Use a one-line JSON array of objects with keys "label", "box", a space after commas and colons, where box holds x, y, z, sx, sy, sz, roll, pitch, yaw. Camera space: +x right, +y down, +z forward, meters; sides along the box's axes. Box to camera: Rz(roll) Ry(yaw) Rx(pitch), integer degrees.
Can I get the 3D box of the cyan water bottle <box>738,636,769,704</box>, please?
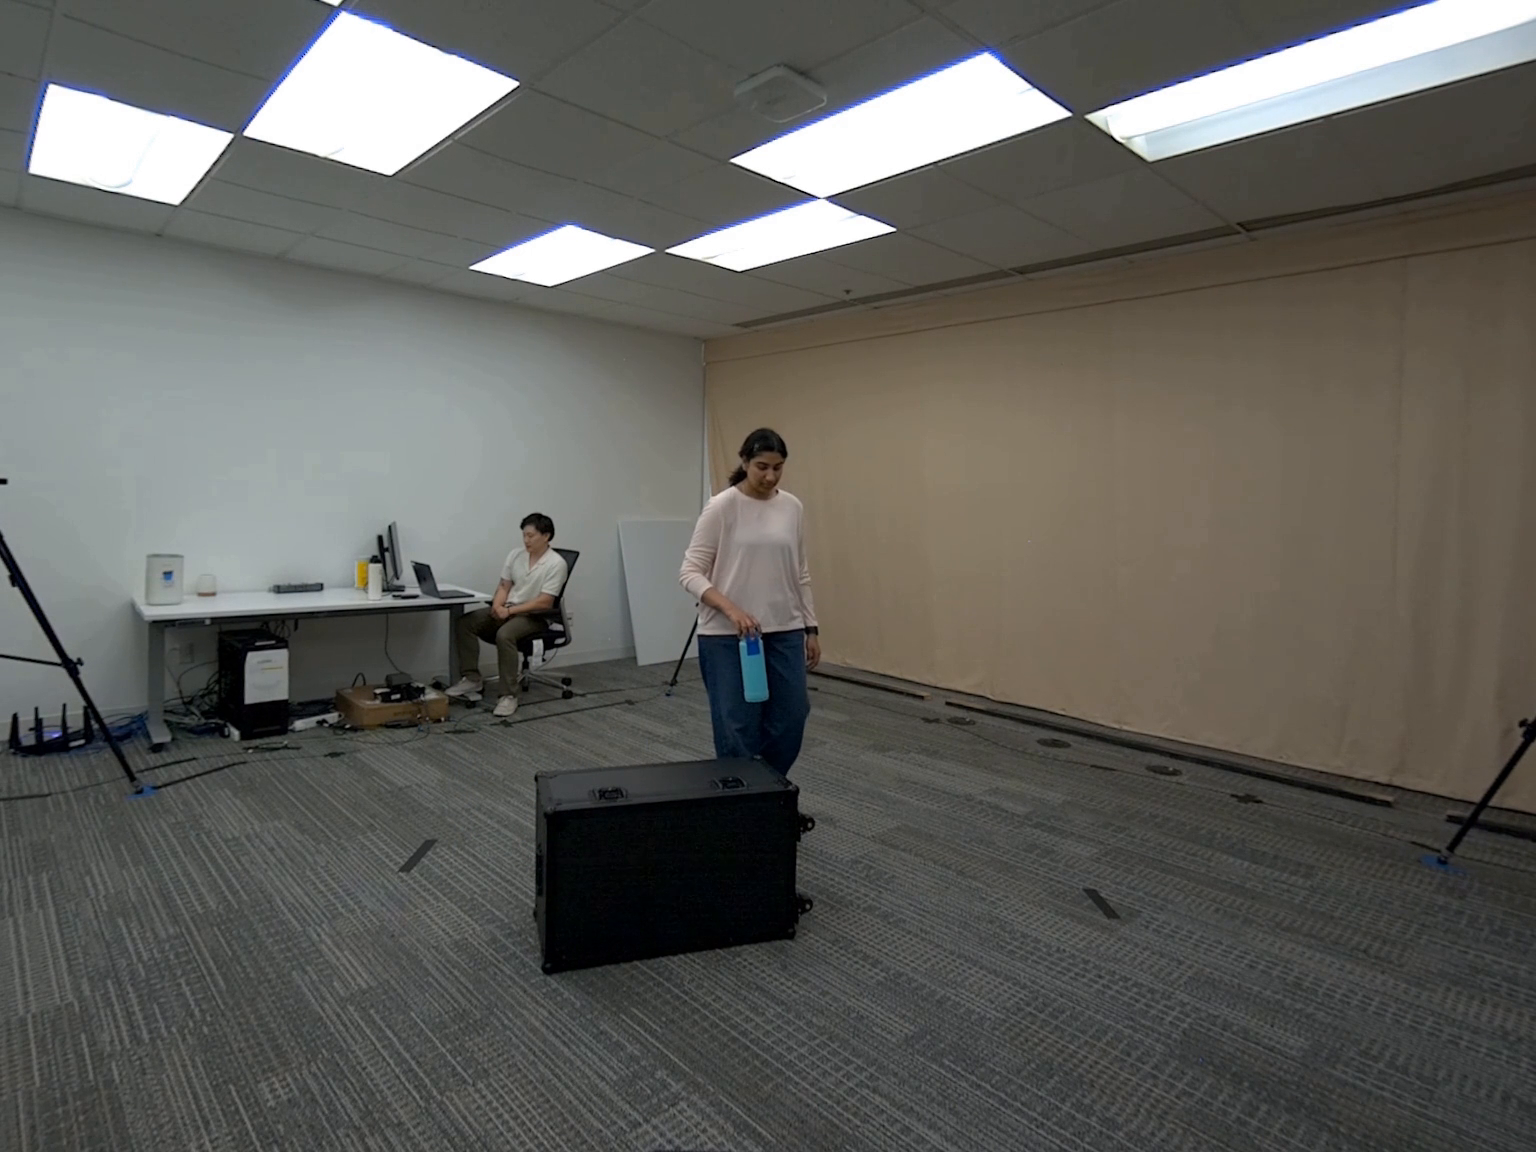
[{"label": "cyan water bottle", "box": [-0.070, 0.321, 3.157, 0.092, 0.283, 0.092, -2, 2, -1]}]
